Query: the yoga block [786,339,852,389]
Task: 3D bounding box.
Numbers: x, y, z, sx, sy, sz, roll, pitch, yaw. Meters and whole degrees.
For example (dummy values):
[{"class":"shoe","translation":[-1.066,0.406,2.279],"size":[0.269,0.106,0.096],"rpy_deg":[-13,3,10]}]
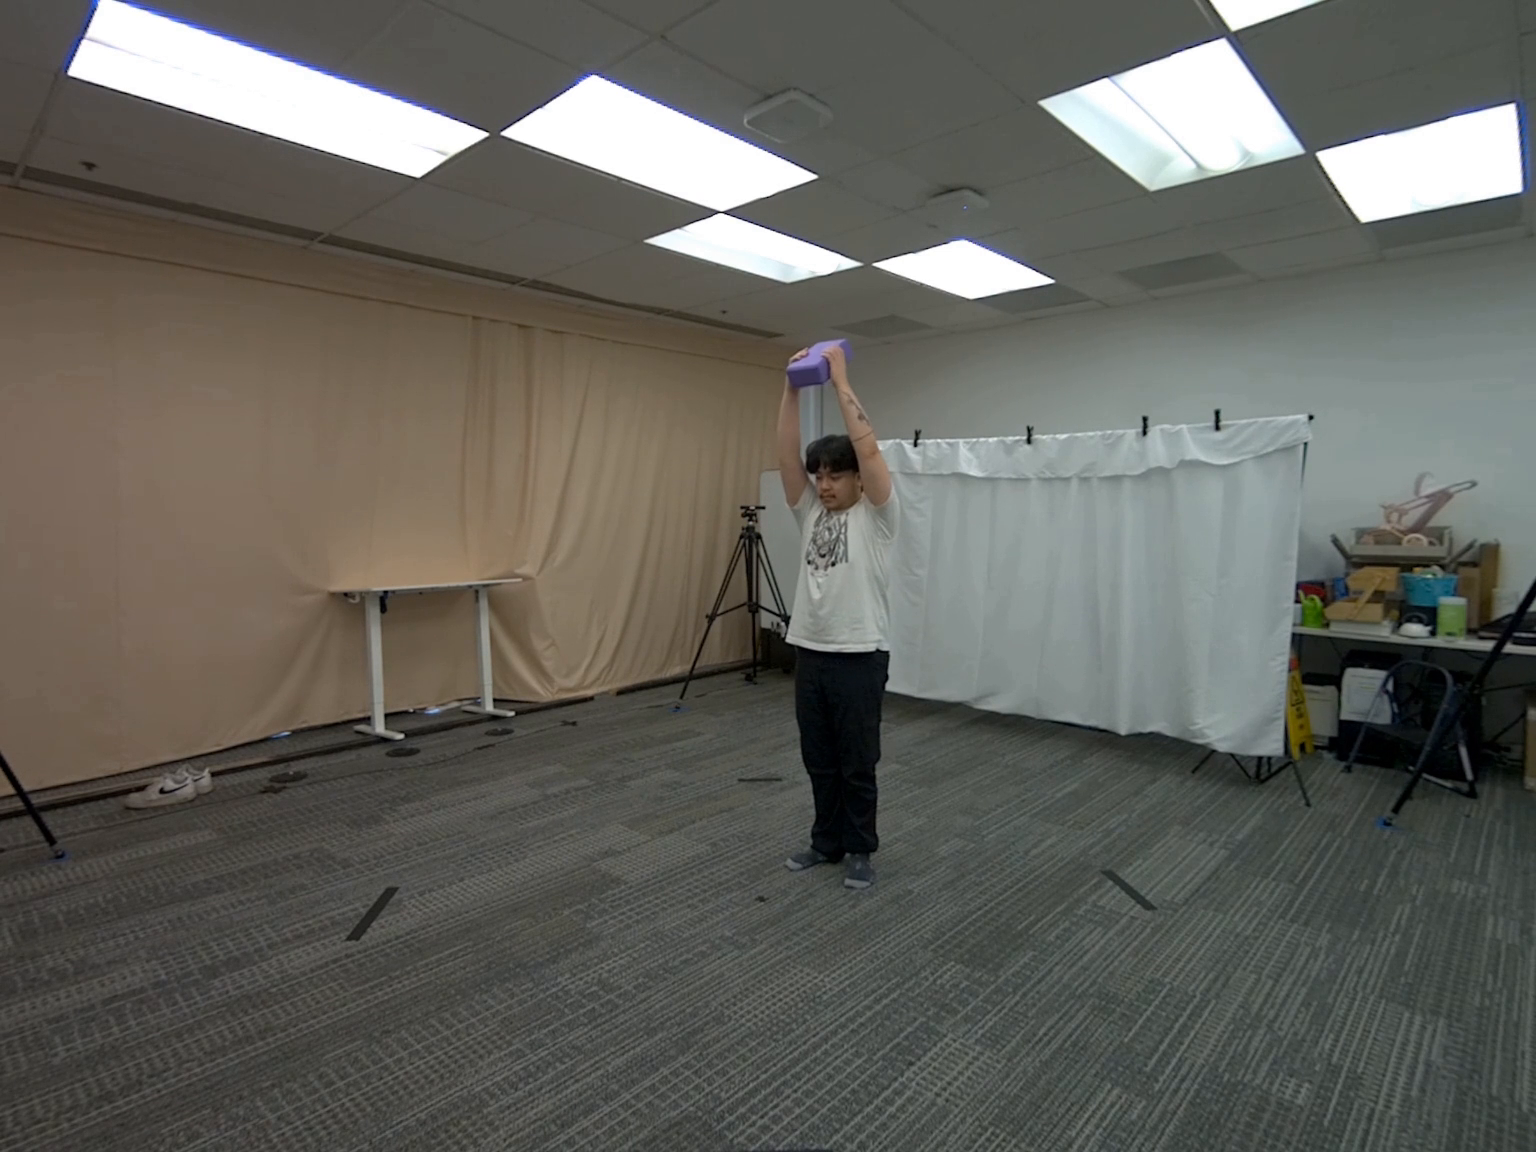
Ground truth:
[{"class":"yoga block","translation":[0.183,-0.757,3.021],"size":[0.154,0.074,0.227],"rpy_deg":[4,40,41]}]
